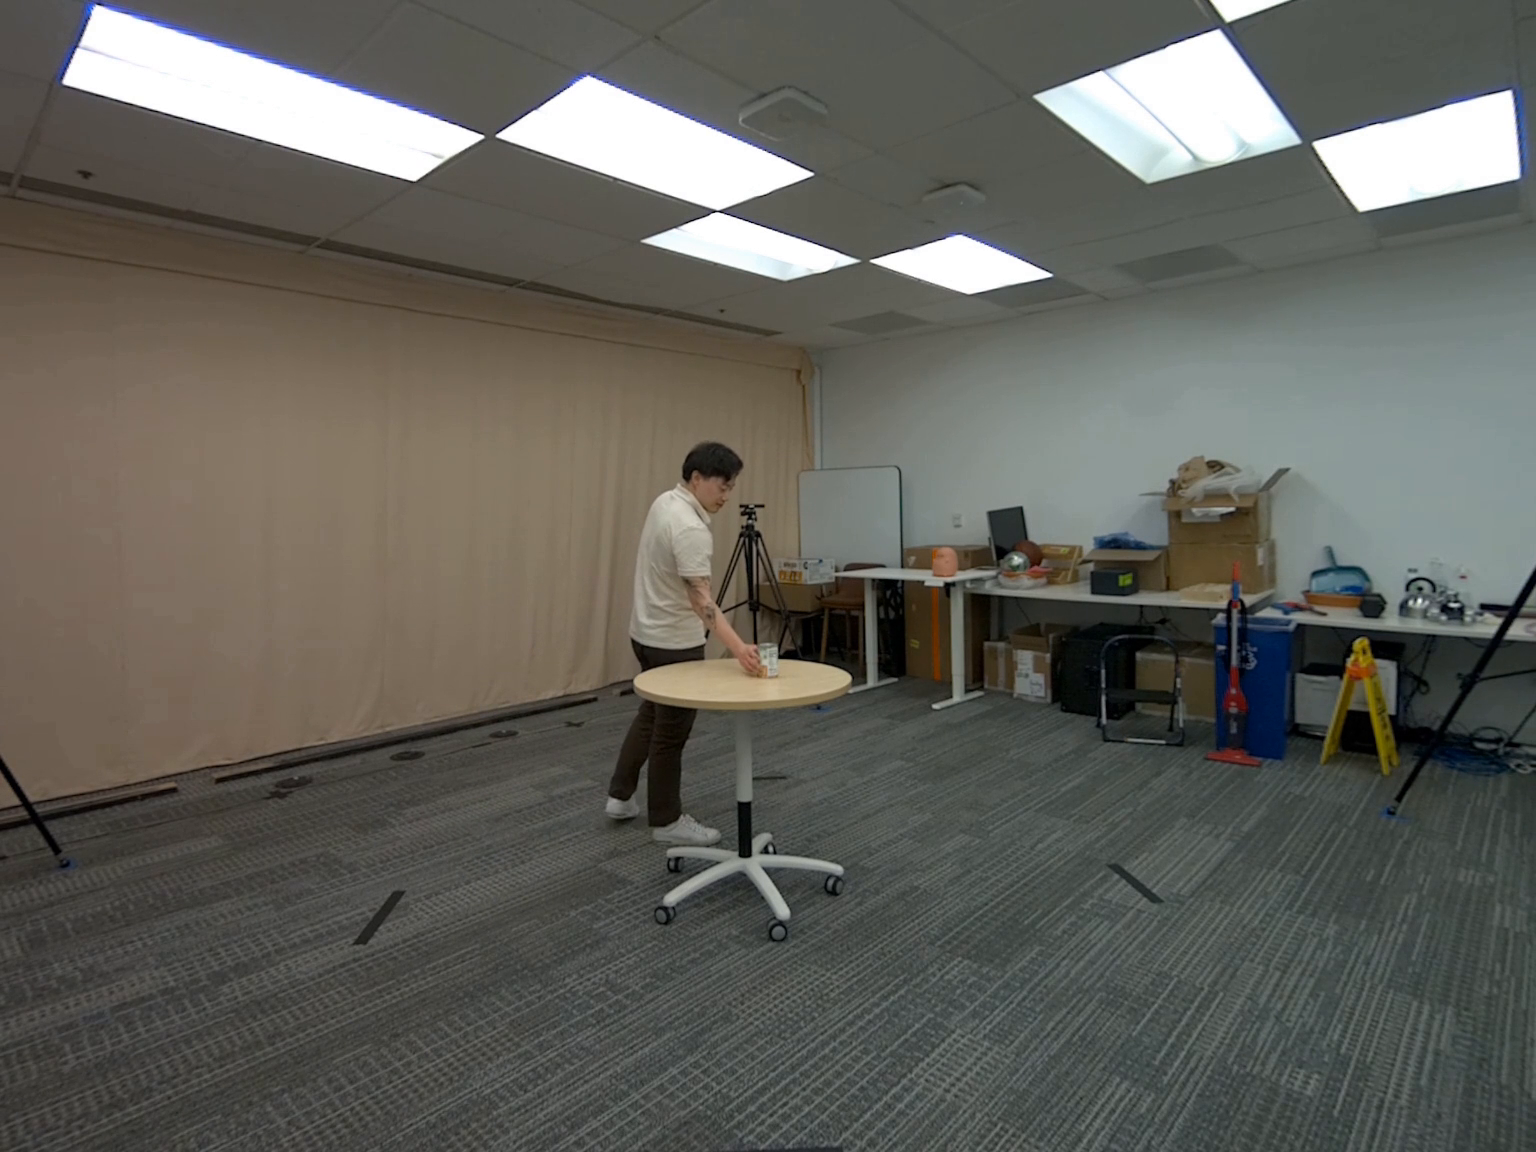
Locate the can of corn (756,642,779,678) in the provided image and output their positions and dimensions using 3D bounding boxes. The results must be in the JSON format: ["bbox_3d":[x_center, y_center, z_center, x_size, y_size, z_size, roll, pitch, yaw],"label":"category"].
[{"bbox_3d":[0.001,0.300,2.979,0.074,0.111,0.074,0,4,-2],"label":"can of corn"}]
